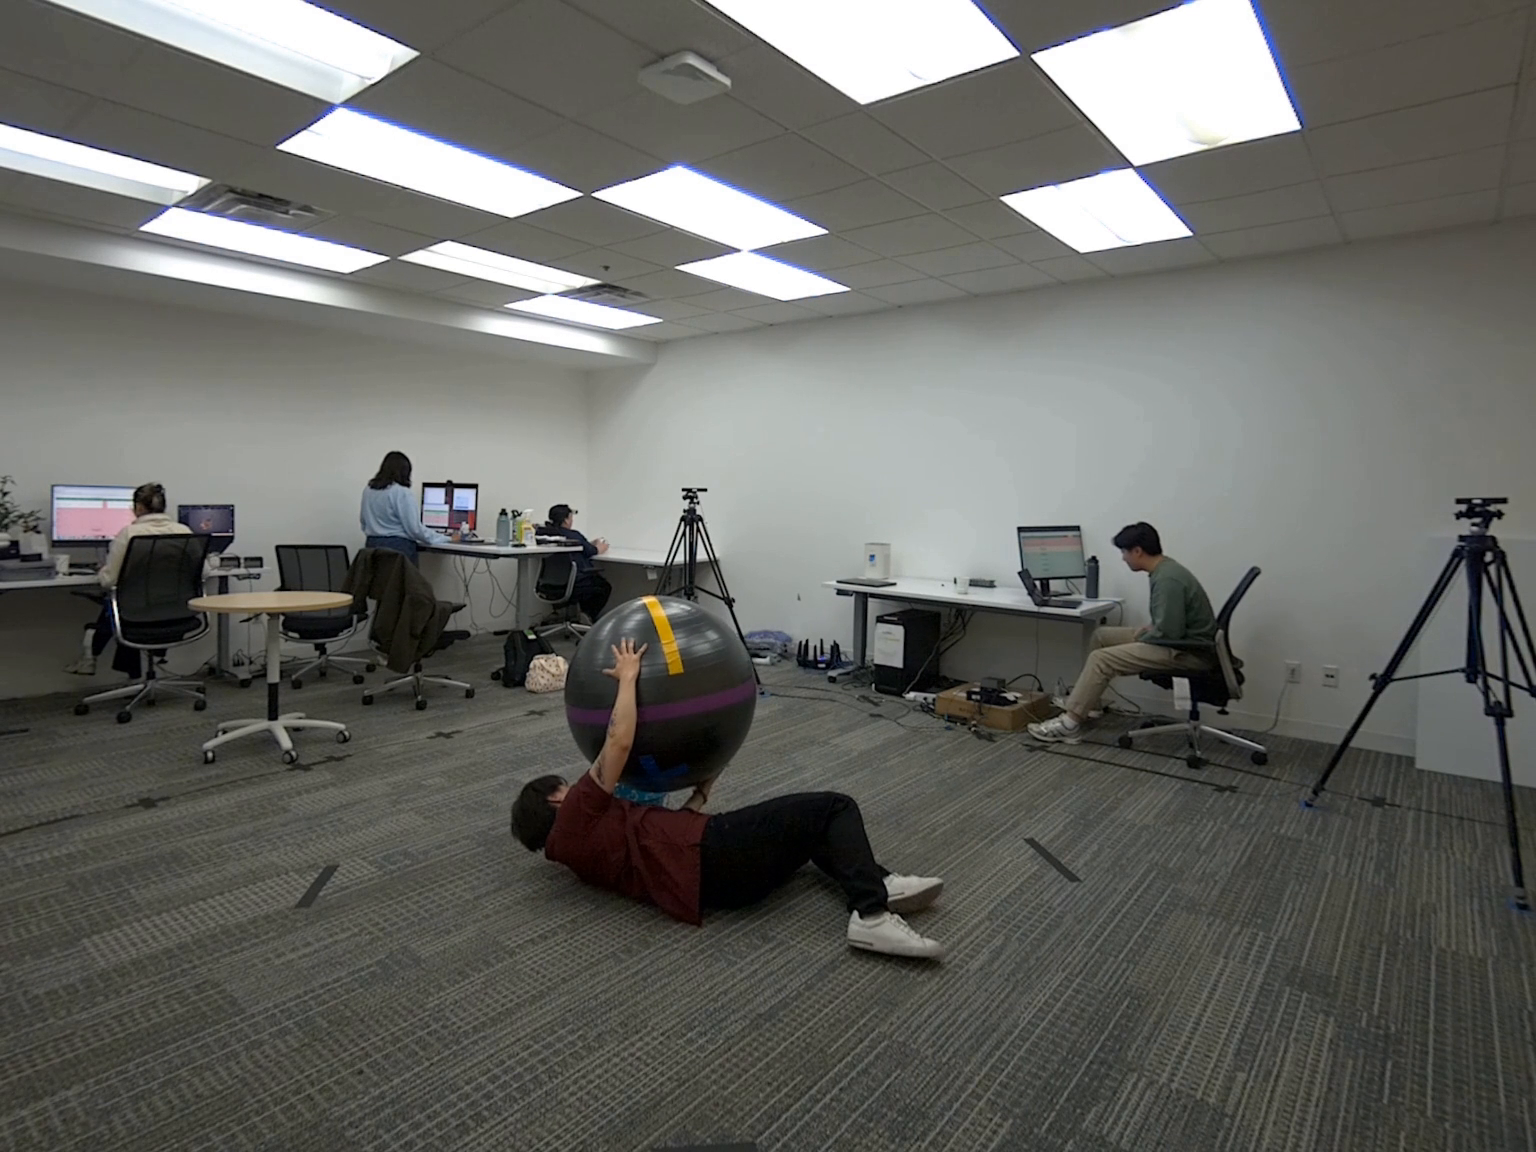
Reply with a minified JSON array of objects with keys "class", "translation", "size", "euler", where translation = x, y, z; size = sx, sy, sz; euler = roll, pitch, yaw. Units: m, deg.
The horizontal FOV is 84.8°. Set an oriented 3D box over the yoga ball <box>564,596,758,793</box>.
[{"class":"yoga ball","translation":[-0.436,0.464,3.373],"size":[0.757,0.755,0.762],"euler":[1,4,-2]}]
